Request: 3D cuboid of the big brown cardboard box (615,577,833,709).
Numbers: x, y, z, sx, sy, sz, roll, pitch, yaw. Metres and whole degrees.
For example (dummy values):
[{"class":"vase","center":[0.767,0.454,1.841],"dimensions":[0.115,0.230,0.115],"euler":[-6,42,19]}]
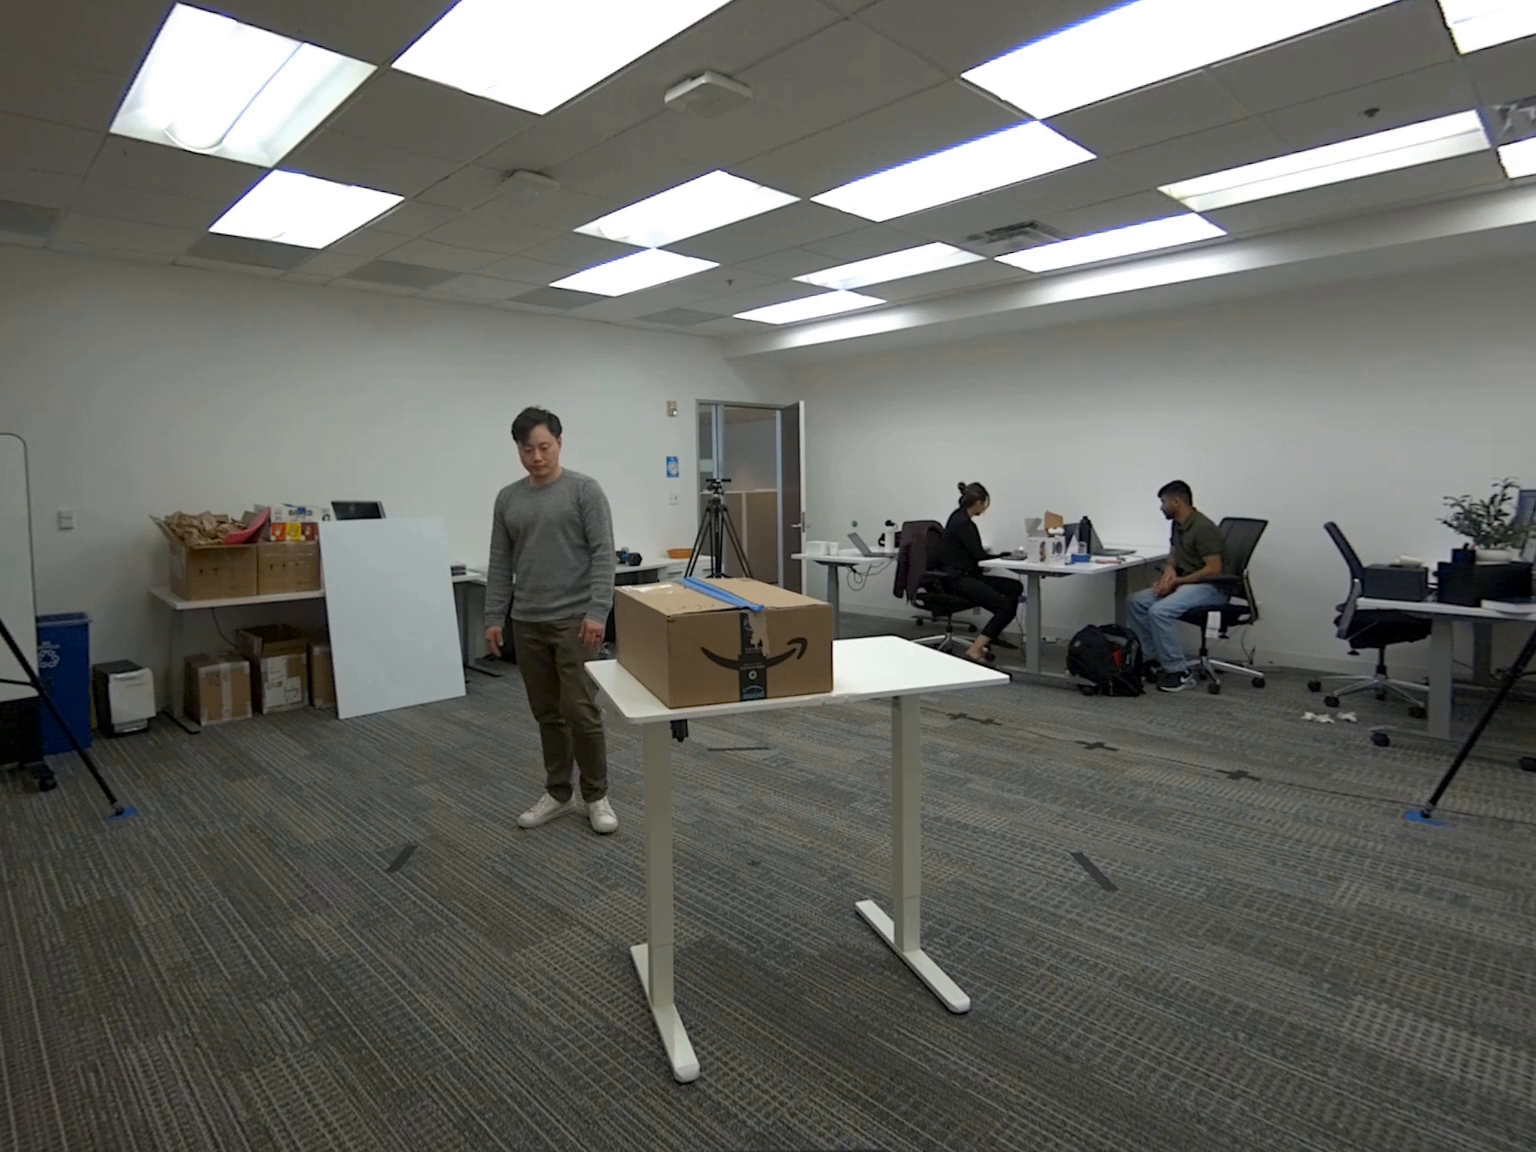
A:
[{"class":"big brown cardboard box","center":[-0.137,0.154,2.262],"dimensions":[0.410,0.232,0.603],"euler":[-3,8,-22]}]
